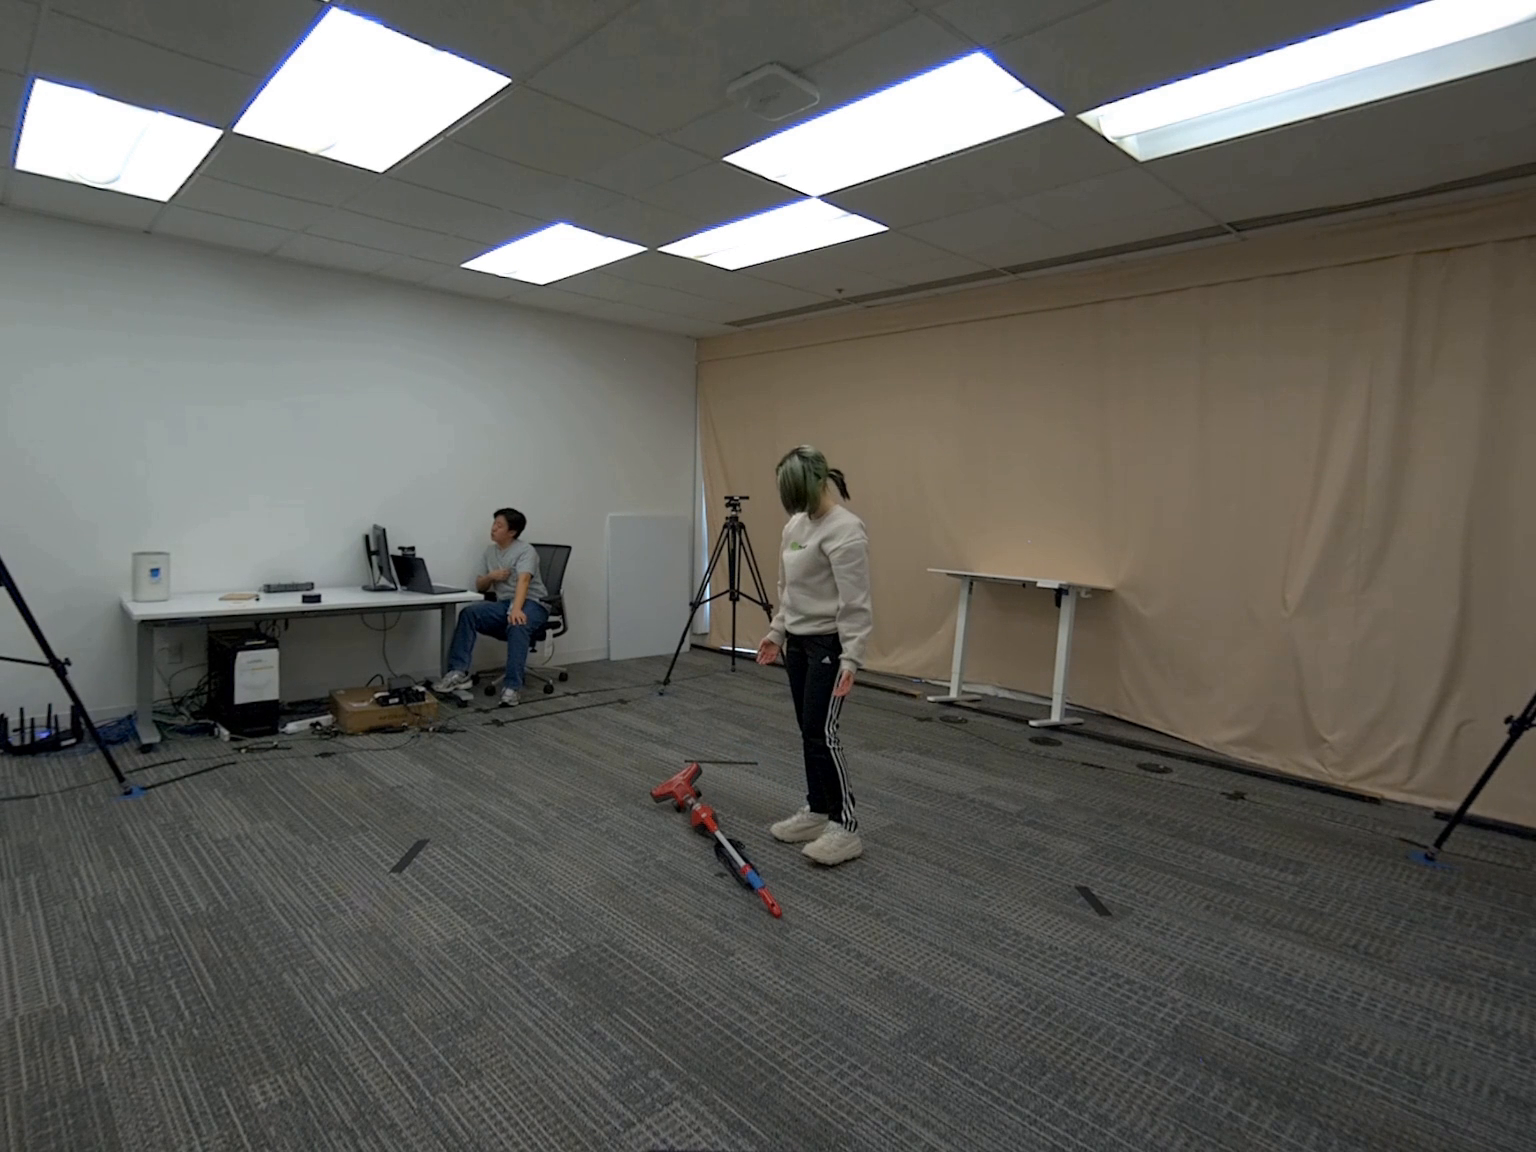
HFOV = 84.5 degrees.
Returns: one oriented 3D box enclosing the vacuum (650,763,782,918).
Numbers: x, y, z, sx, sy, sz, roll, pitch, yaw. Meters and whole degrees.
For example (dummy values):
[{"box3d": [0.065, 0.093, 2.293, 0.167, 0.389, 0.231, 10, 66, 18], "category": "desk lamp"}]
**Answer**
[{"box3d": [-0.185, 1.039, 3.285, 0.251, 0.141, 1.072, -30, 20, -14], "category": "vacuum"}]
